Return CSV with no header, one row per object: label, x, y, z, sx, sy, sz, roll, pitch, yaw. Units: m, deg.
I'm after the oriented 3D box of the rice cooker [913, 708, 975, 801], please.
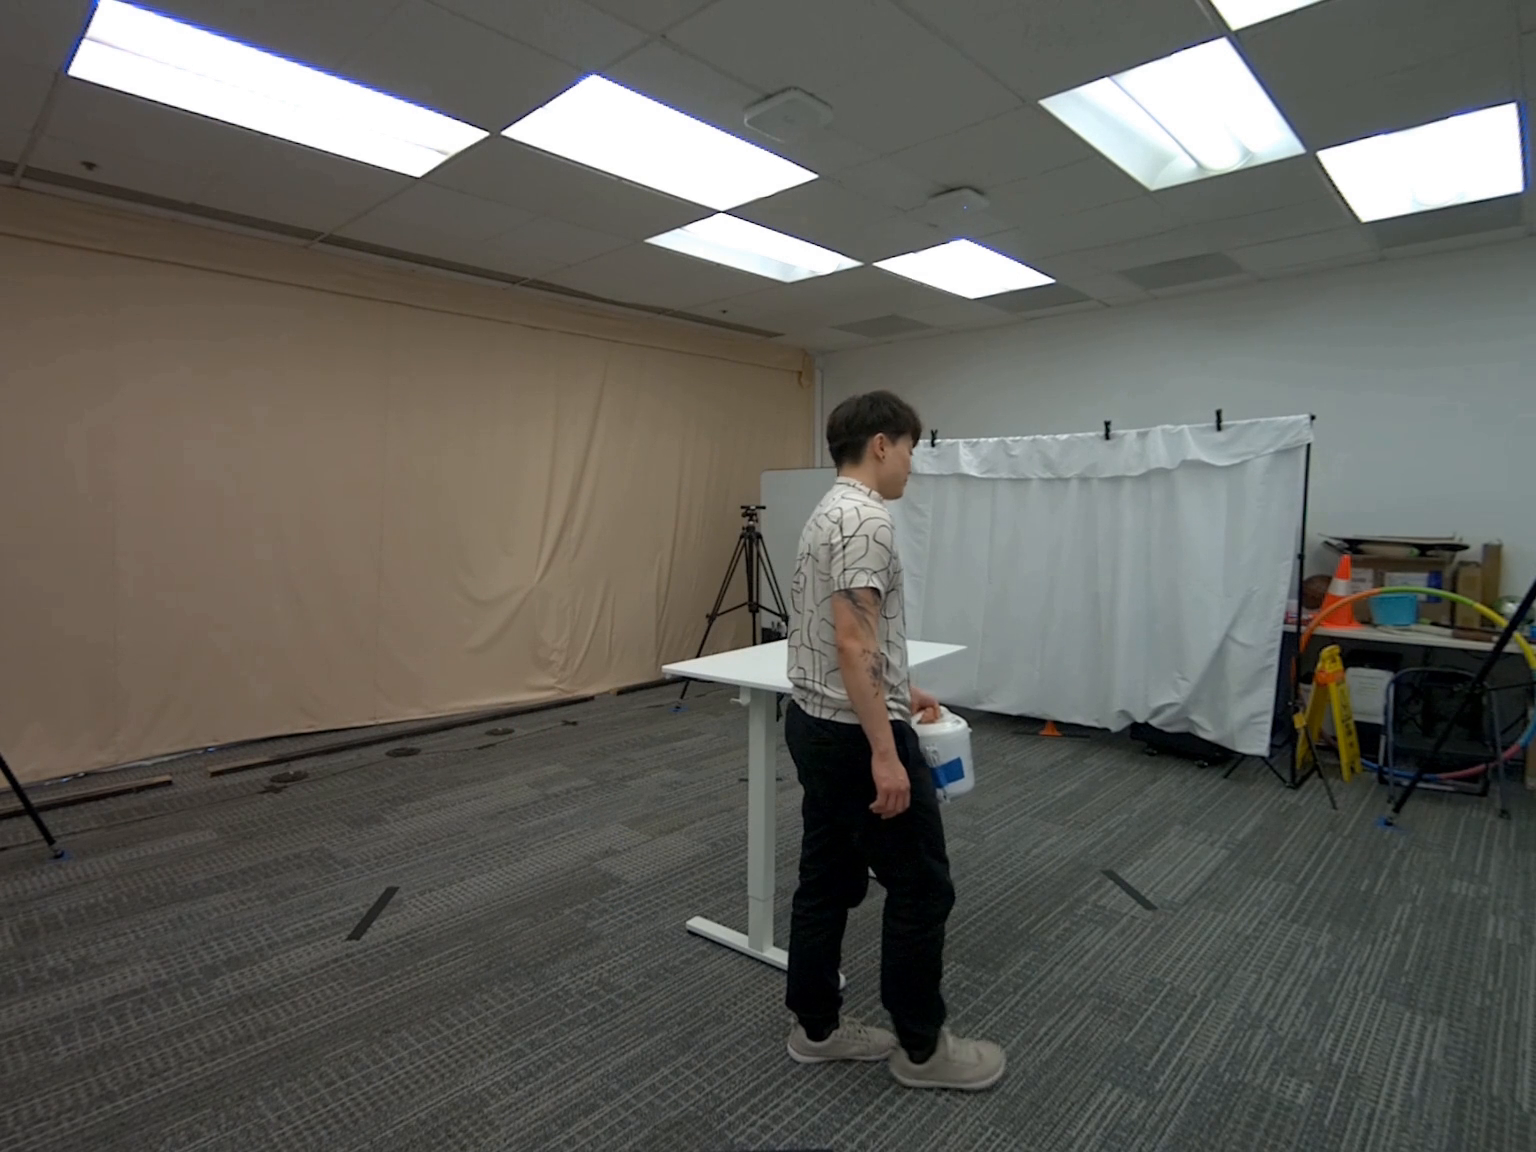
rice cooker,0.444,0.474,2.305,0.214,0.232,0.224,-10,3,-37
